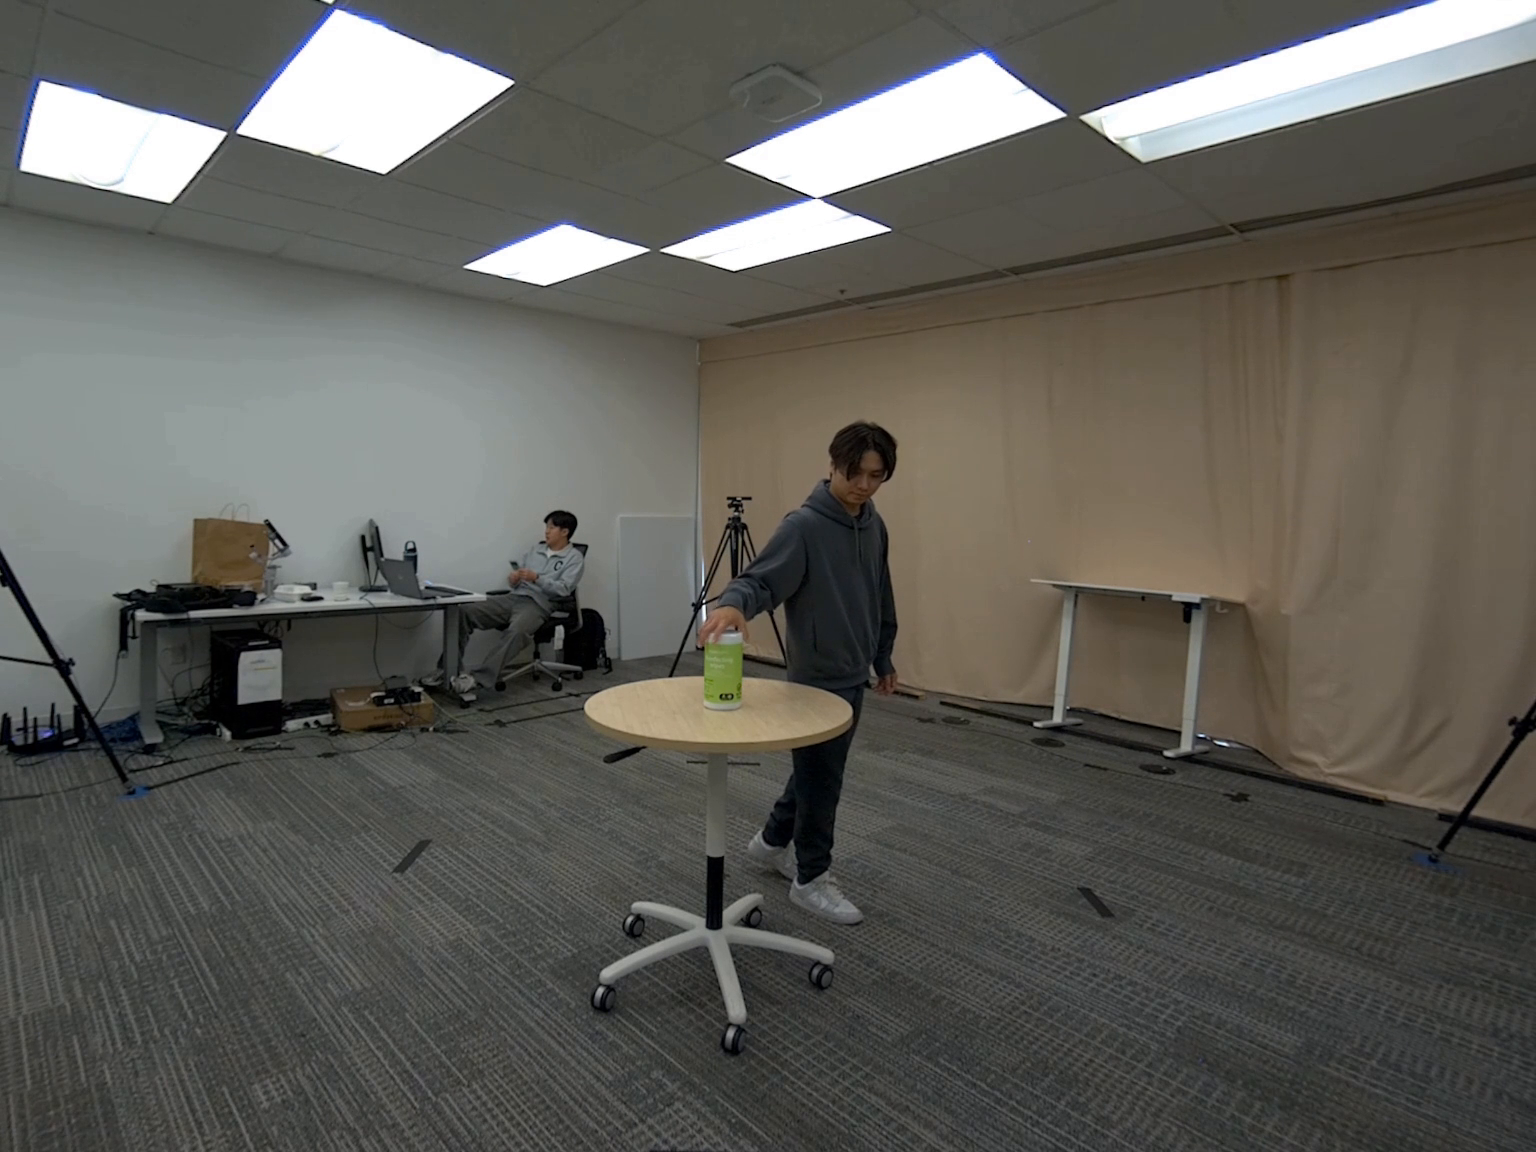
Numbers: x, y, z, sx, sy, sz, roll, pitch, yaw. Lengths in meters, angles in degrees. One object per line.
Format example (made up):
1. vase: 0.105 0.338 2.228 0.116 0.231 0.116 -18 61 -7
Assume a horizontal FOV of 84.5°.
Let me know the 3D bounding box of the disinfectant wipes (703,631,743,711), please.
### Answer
1. disinfectant wipes: -0.133 0.270 2.392 0.118 0.217 0.118 3 4 -2
